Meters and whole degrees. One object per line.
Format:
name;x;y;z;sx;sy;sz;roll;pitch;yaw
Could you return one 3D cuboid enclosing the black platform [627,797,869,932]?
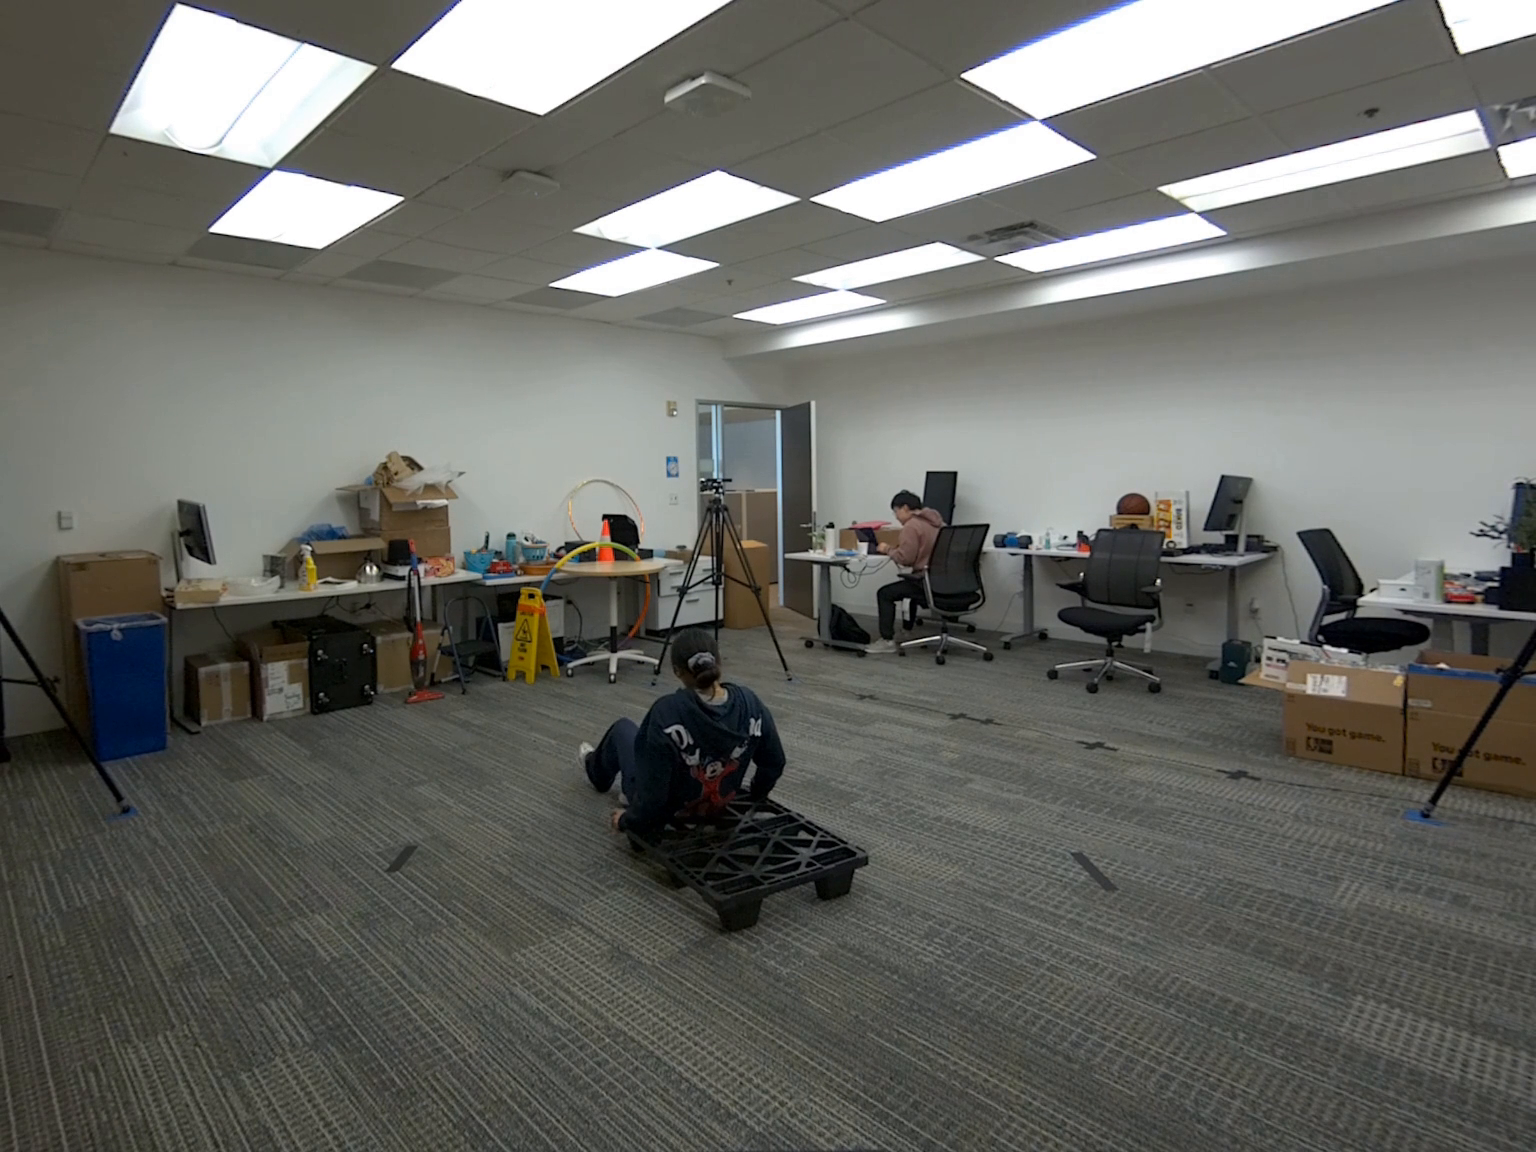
black platform;-0.119;0.986;3.048;0.591;0.143;0.828;-5;7;-31
